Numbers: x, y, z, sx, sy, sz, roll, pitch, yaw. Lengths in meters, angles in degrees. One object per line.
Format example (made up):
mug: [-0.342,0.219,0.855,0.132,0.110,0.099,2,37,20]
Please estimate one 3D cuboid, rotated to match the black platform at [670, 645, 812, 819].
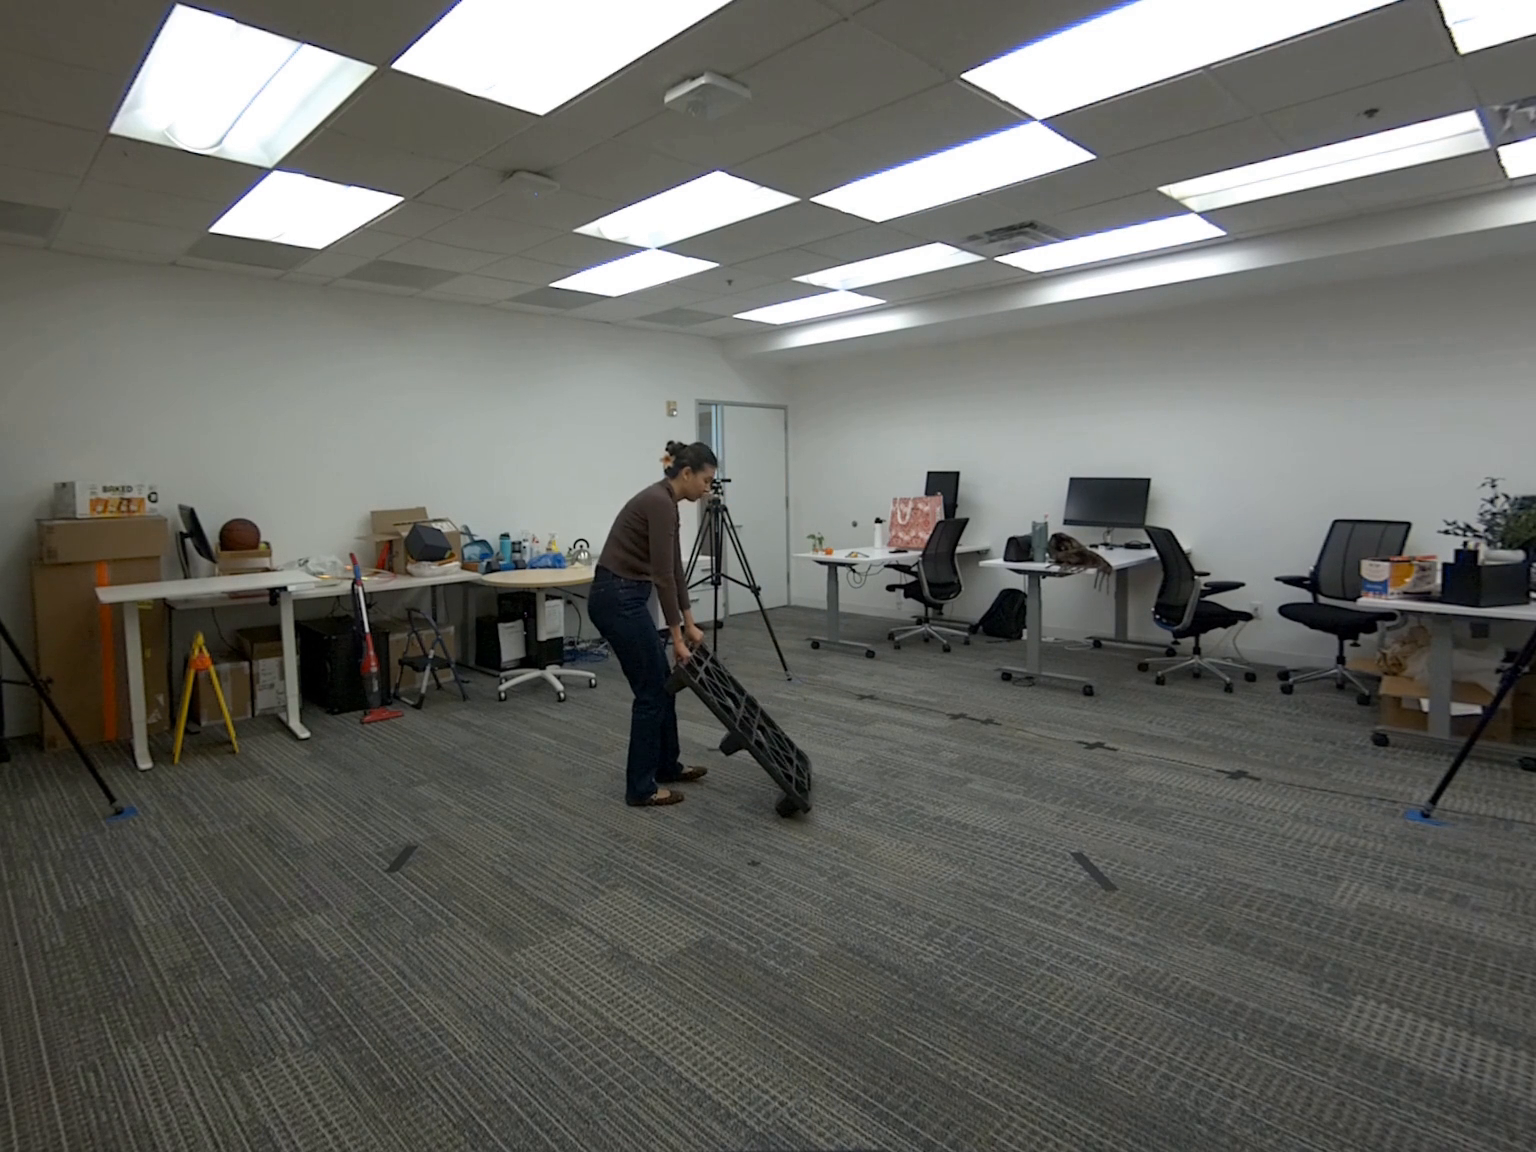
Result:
black platform: [-0.129,0.649,3.753,0.143,0.807,0.604,-42,-1,6]
